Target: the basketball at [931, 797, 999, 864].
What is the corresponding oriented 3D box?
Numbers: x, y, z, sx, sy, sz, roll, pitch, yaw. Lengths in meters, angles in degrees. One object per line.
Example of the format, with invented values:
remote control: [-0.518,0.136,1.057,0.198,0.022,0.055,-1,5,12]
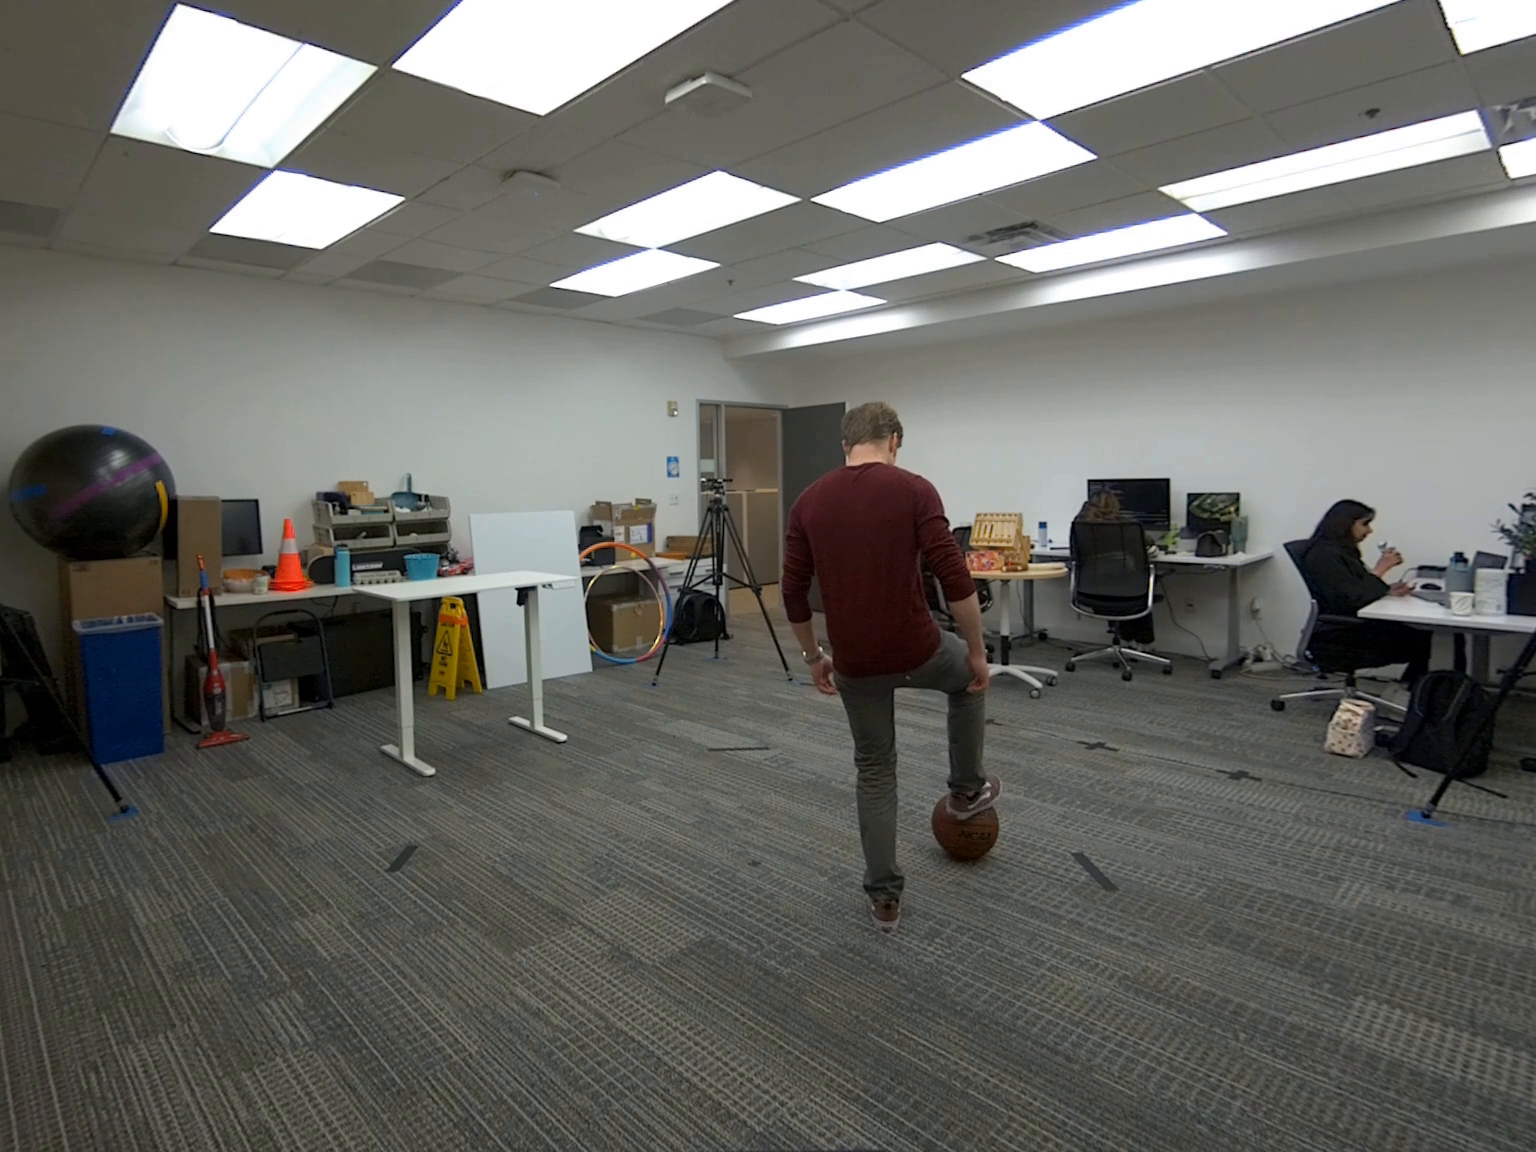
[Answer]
basketball: [0.721,0.908,3.139,0.236,0.235,0.237,-1,5,-2]
